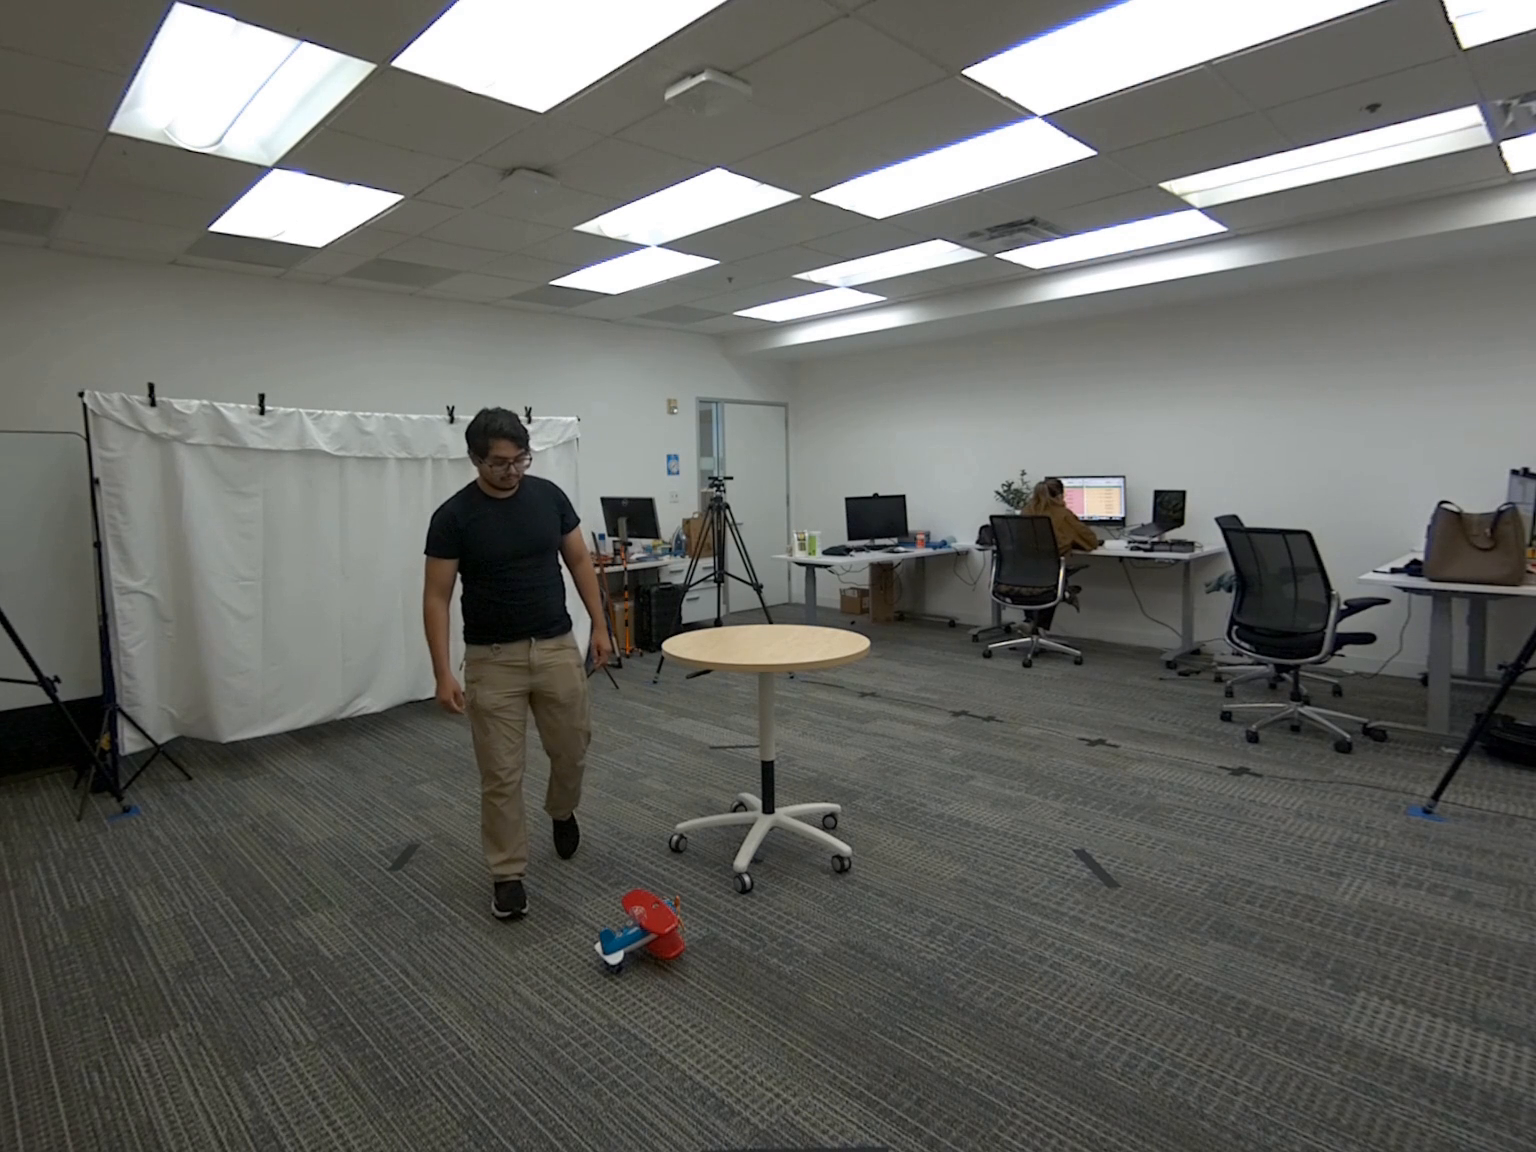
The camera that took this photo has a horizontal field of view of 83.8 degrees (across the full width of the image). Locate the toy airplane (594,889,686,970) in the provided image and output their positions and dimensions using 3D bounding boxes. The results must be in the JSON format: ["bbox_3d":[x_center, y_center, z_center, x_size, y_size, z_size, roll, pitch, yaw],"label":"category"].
[{"bbox_3d":[-0.350,1.045,2.471,0.257,0.156,0.254,3,6,26],"label":"toy airplane"}]
